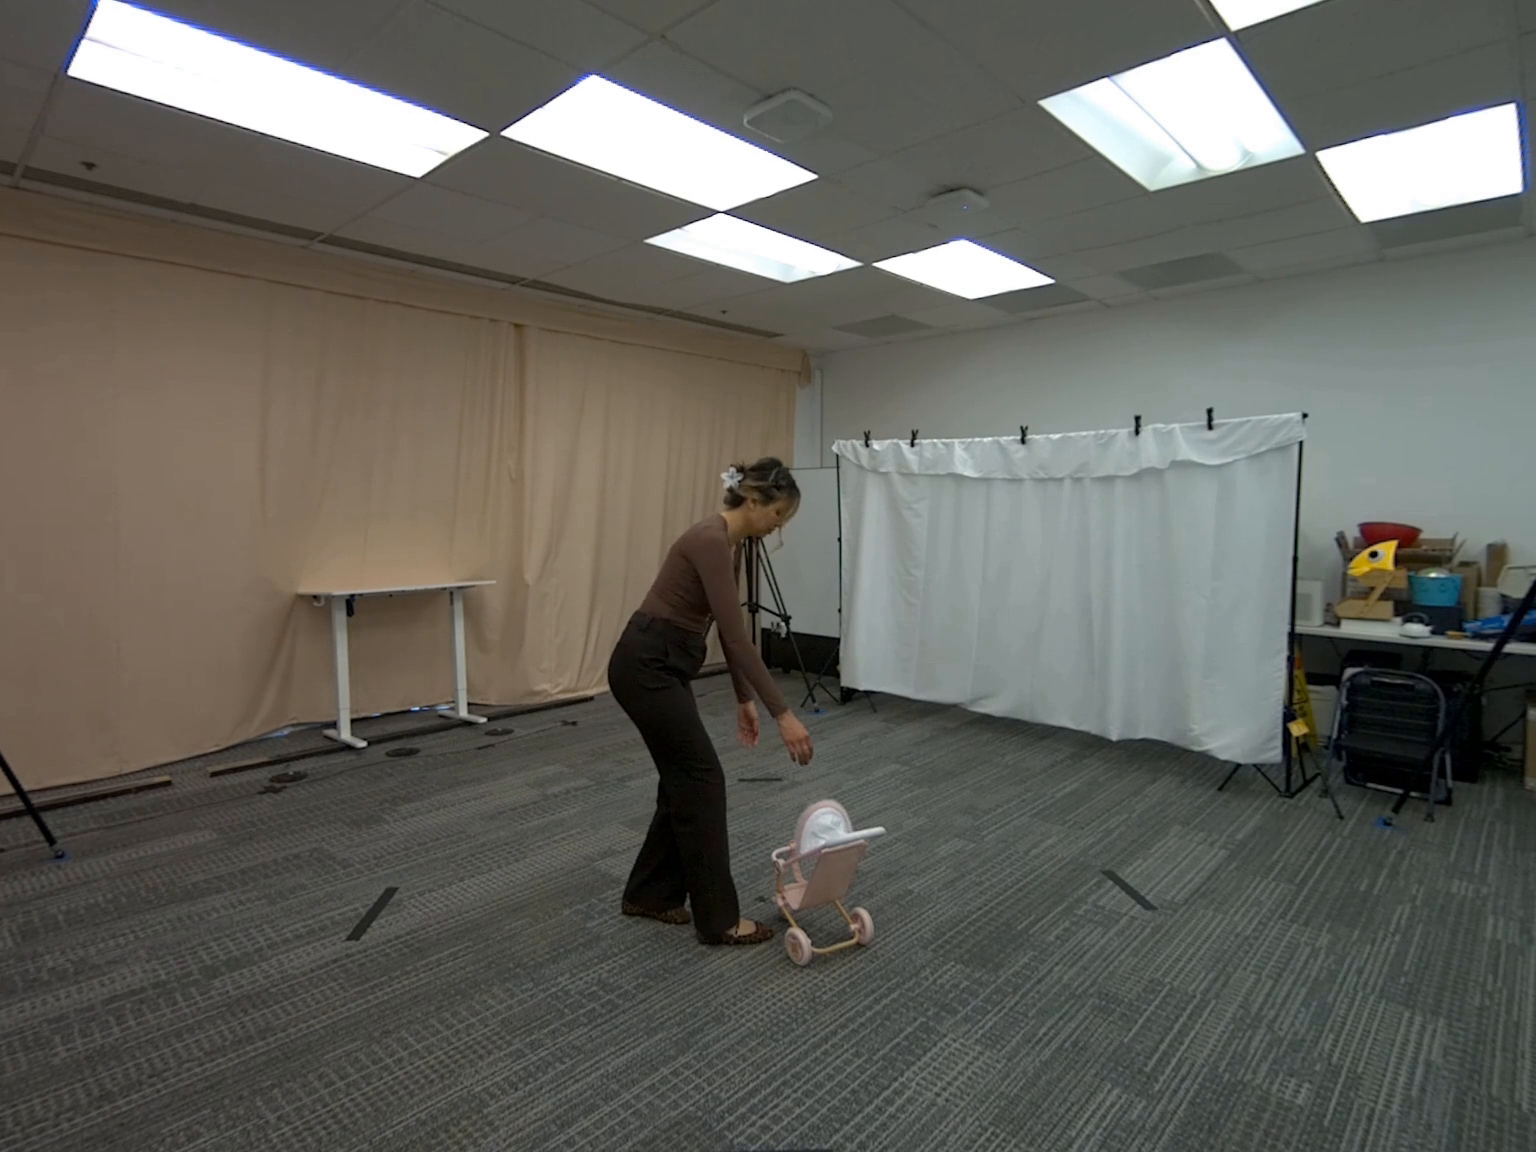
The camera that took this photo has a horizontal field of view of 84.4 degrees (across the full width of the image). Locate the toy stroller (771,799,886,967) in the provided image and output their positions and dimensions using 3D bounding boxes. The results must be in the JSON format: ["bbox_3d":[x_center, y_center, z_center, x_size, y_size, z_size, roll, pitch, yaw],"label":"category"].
[{"bbox_3d":[0.168,0.944,2.659,0.274,0.530,0.353,-2,19,-28],"label":"toy stroller"}]
